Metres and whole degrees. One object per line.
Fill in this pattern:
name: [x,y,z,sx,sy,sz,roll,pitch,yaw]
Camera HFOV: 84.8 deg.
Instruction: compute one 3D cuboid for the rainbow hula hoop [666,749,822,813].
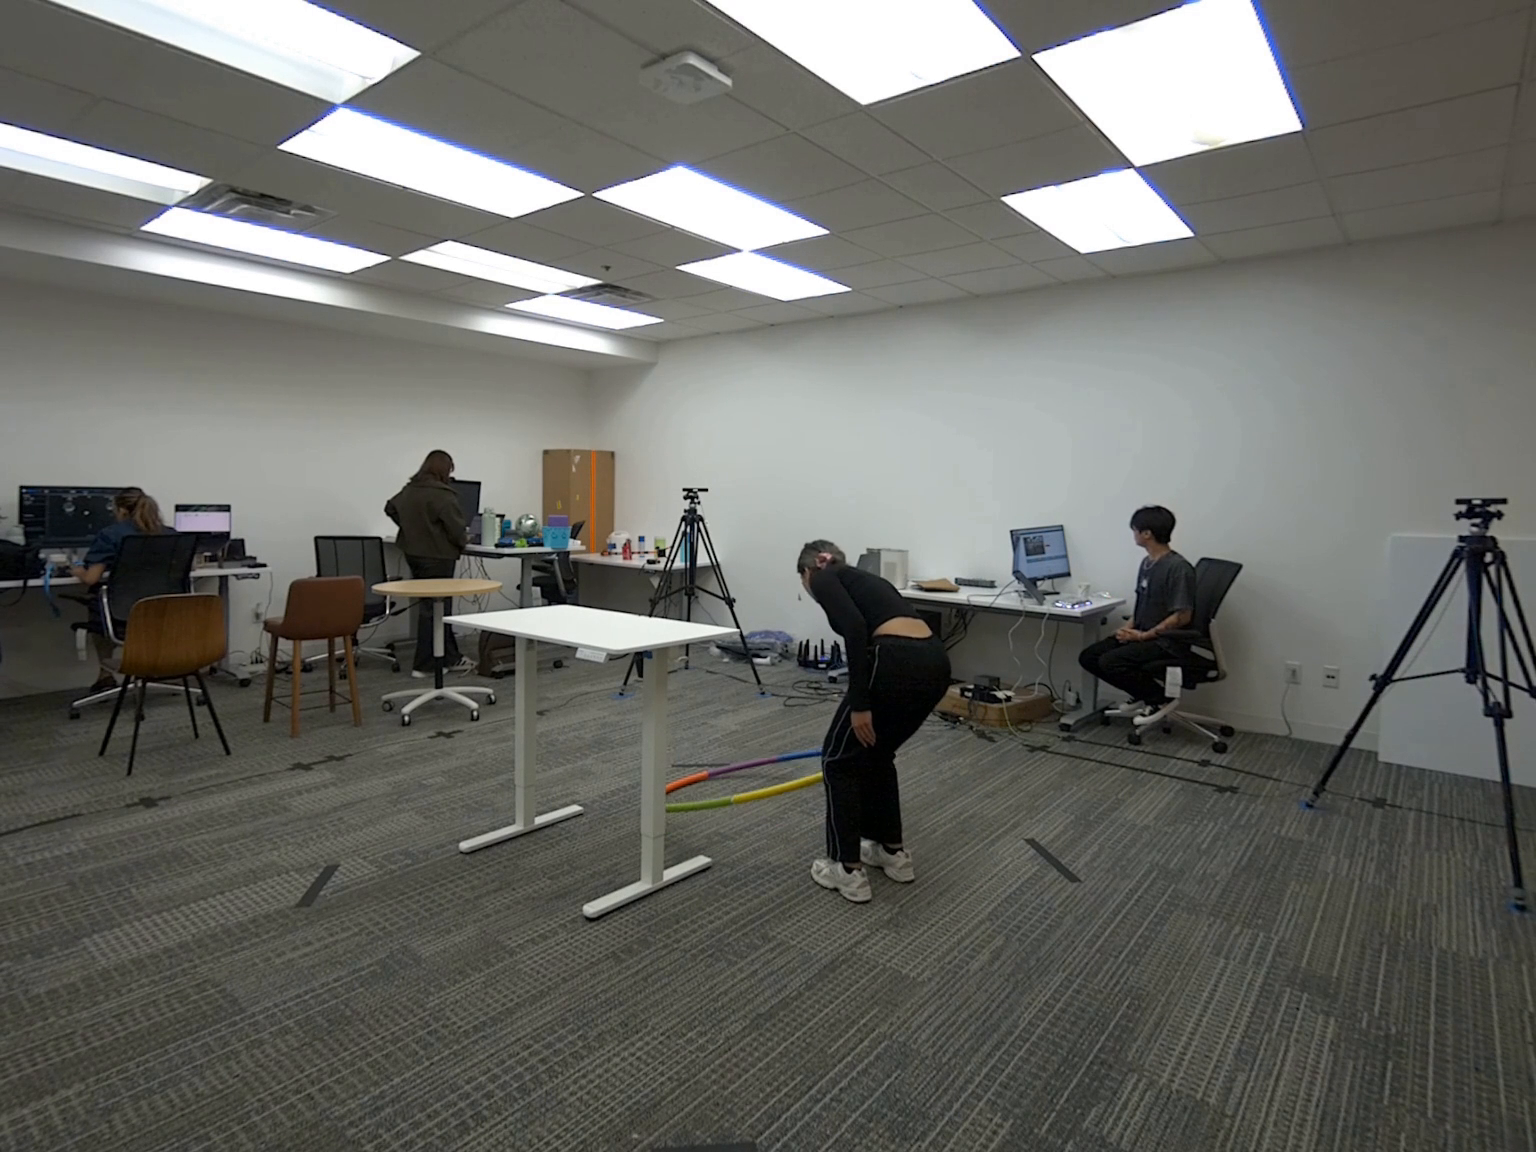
rainbow hula hoop: [-0.069,0.858,3.675,0.976,0.036,0.973,-12,-5,-3]
